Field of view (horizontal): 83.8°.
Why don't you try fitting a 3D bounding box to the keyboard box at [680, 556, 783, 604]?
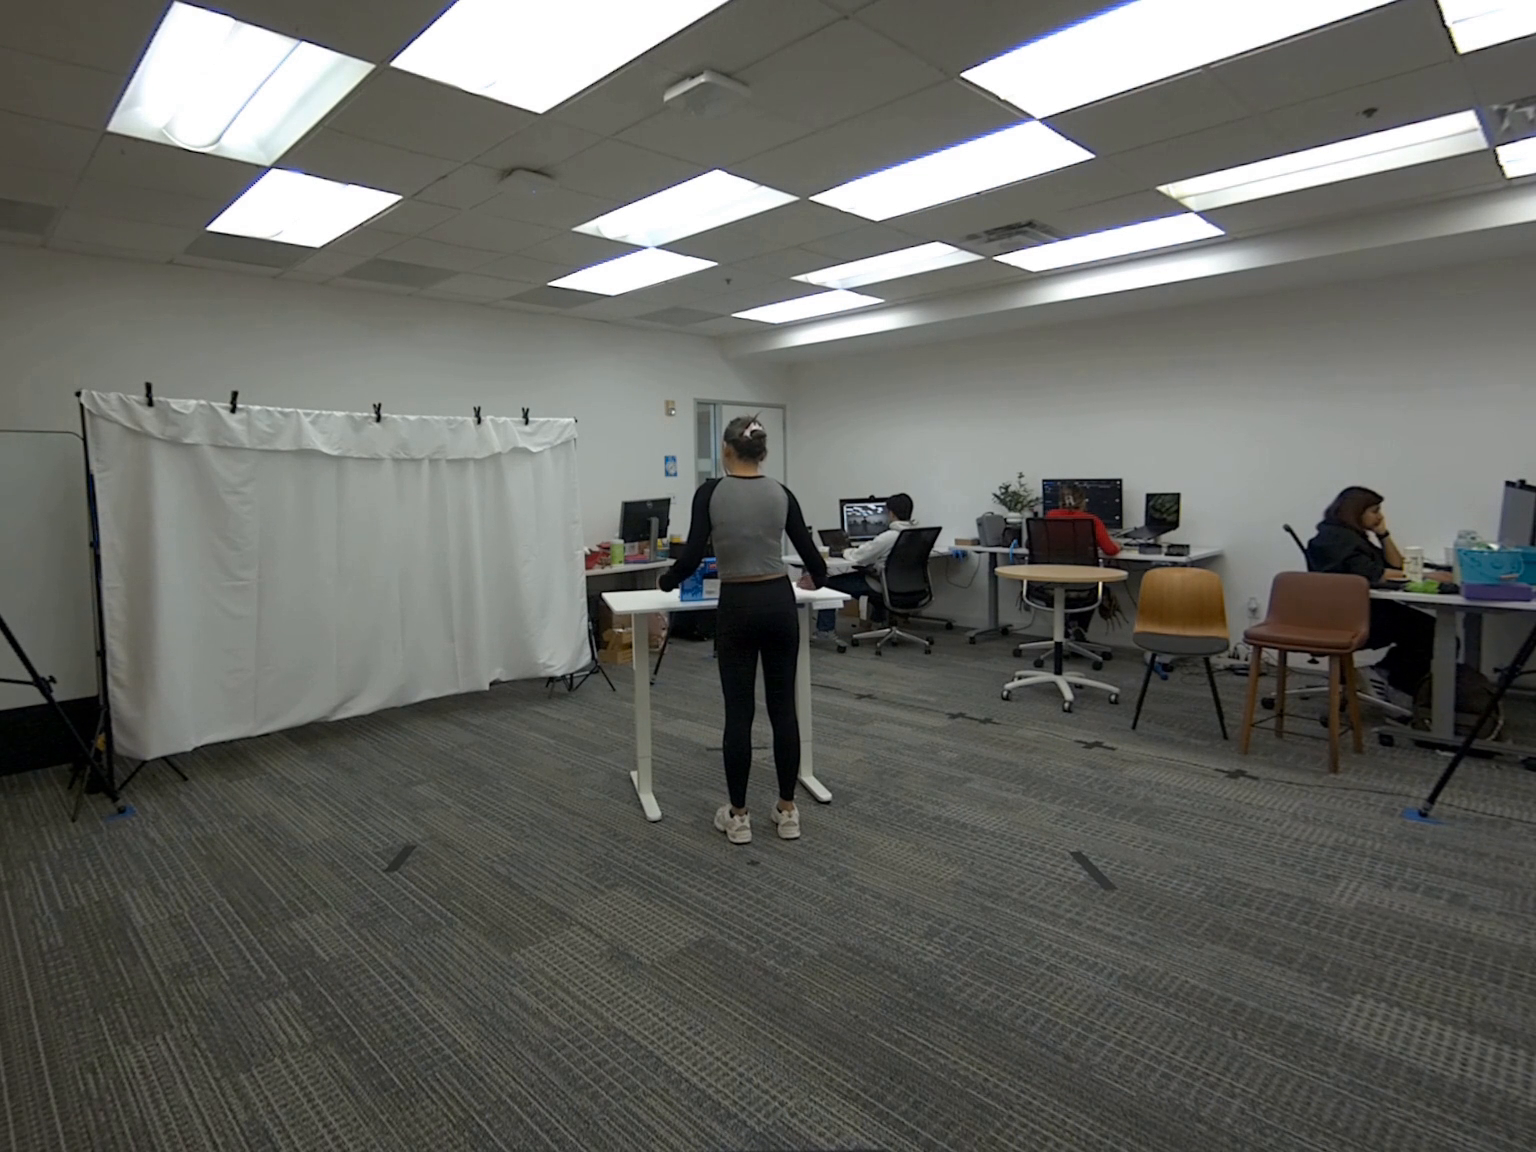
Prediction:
[{"bbox_3d":[-0.159,0.009,3.658,0.432,0.174,0.060,-3,8,-11],"label":"keyboard box"}]
